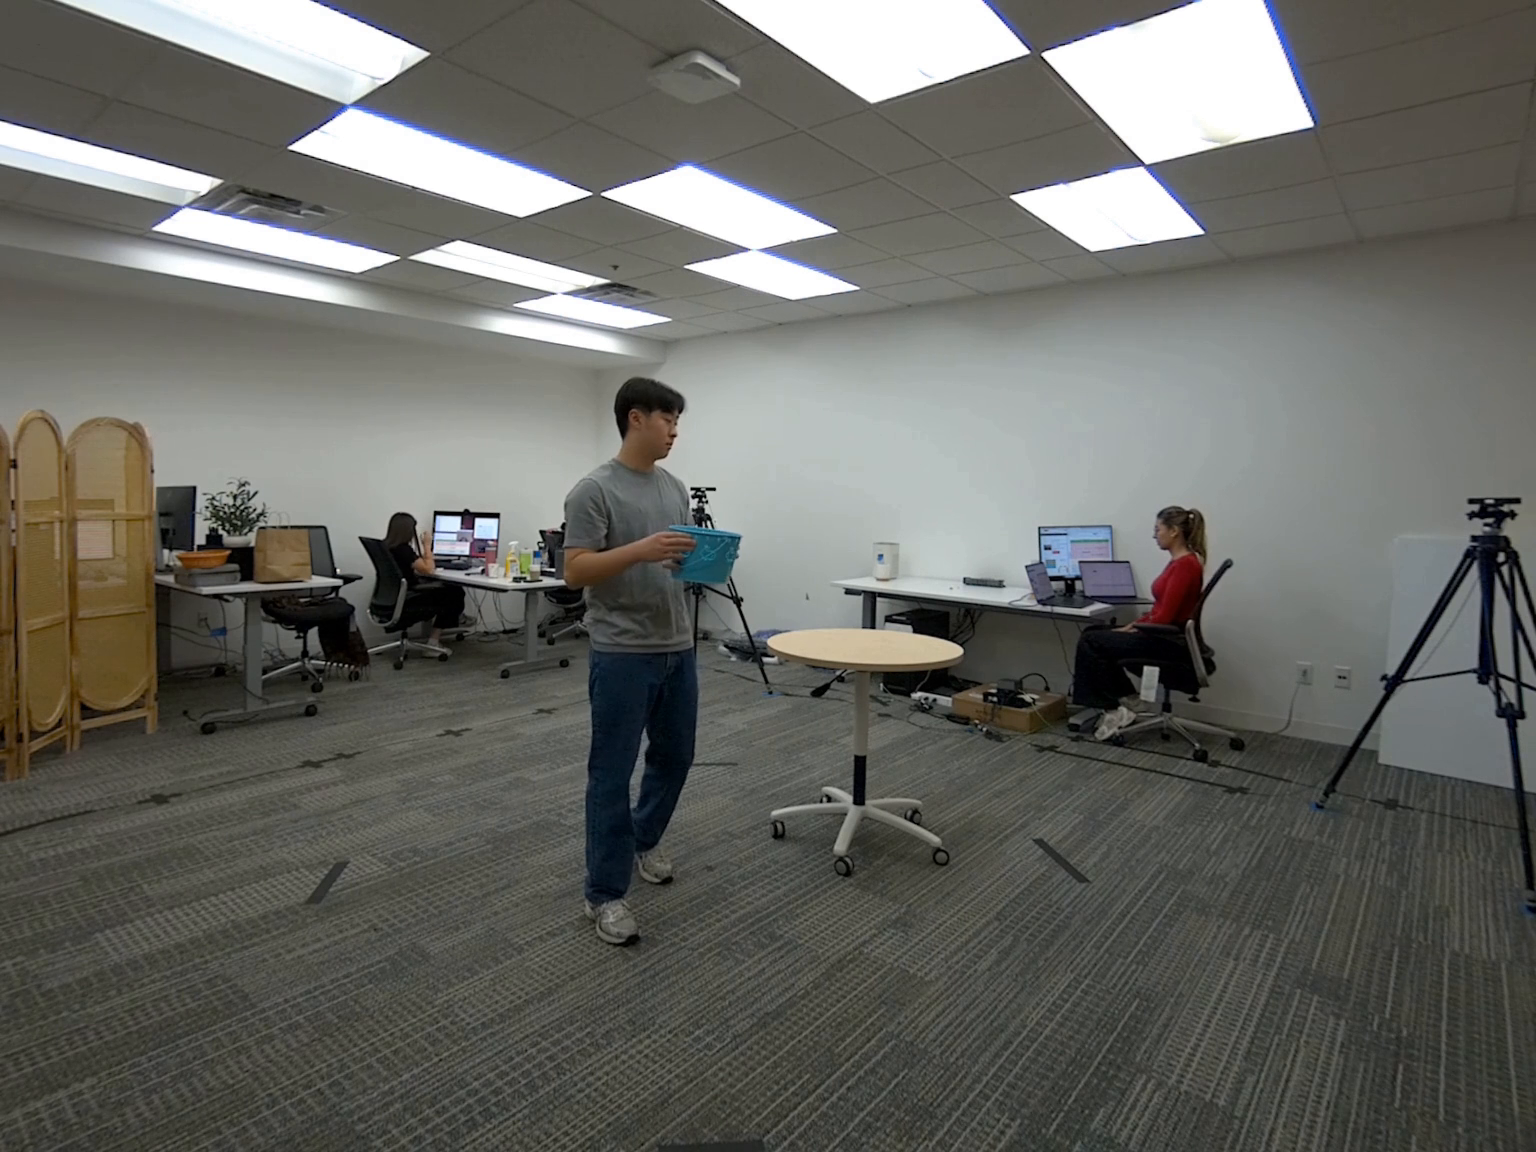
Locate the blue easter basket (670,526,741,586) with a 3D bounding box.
[{"bbox_3d":[-0.223,-0.062,2.626,0.243,0.155,0.245,5,4,-2],"label":"blue easter basket"}]
